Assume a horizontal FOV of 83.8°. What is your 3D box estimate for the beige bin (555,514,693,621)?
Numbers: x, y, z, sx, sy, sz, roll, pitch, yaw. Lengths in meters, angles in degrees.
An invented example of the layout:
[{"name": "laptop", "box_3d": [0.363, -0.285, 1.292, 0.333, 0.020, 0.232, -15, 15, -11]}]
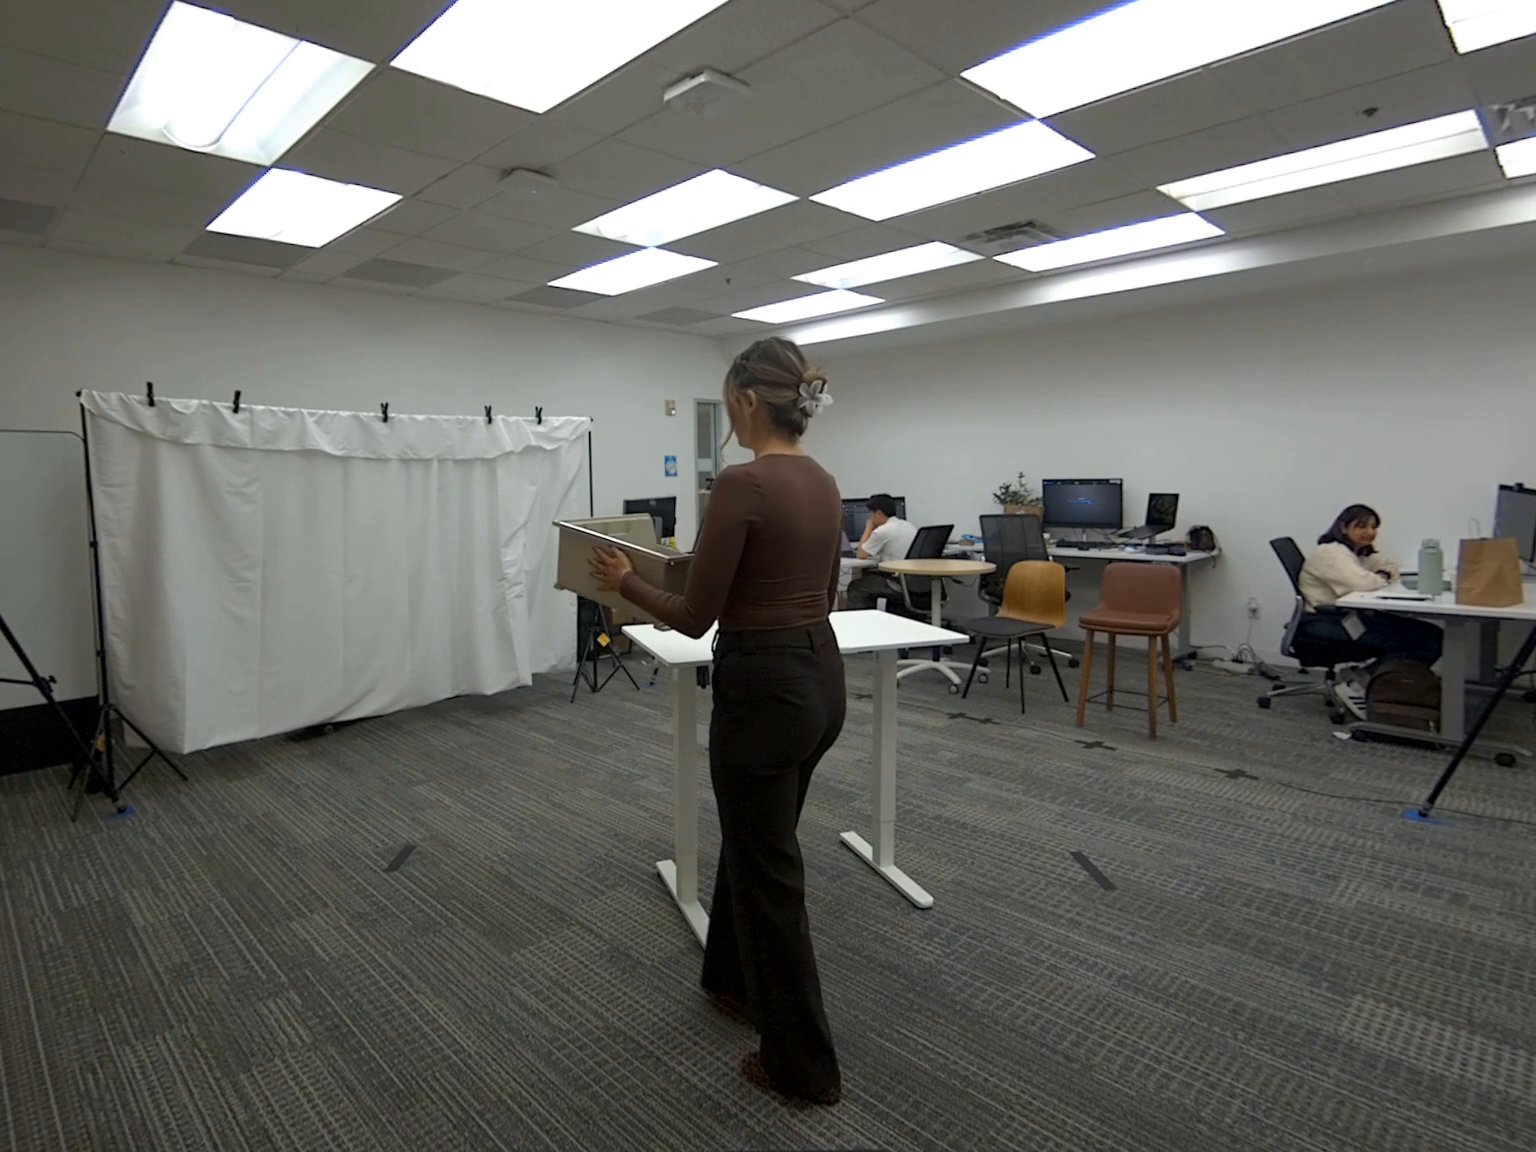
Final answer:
[{"name": "beige bin", "box_3d": [-0.281, -0.023, 2.217, 0.437, 0.187, 0.368, 17, 17, 37]}]
